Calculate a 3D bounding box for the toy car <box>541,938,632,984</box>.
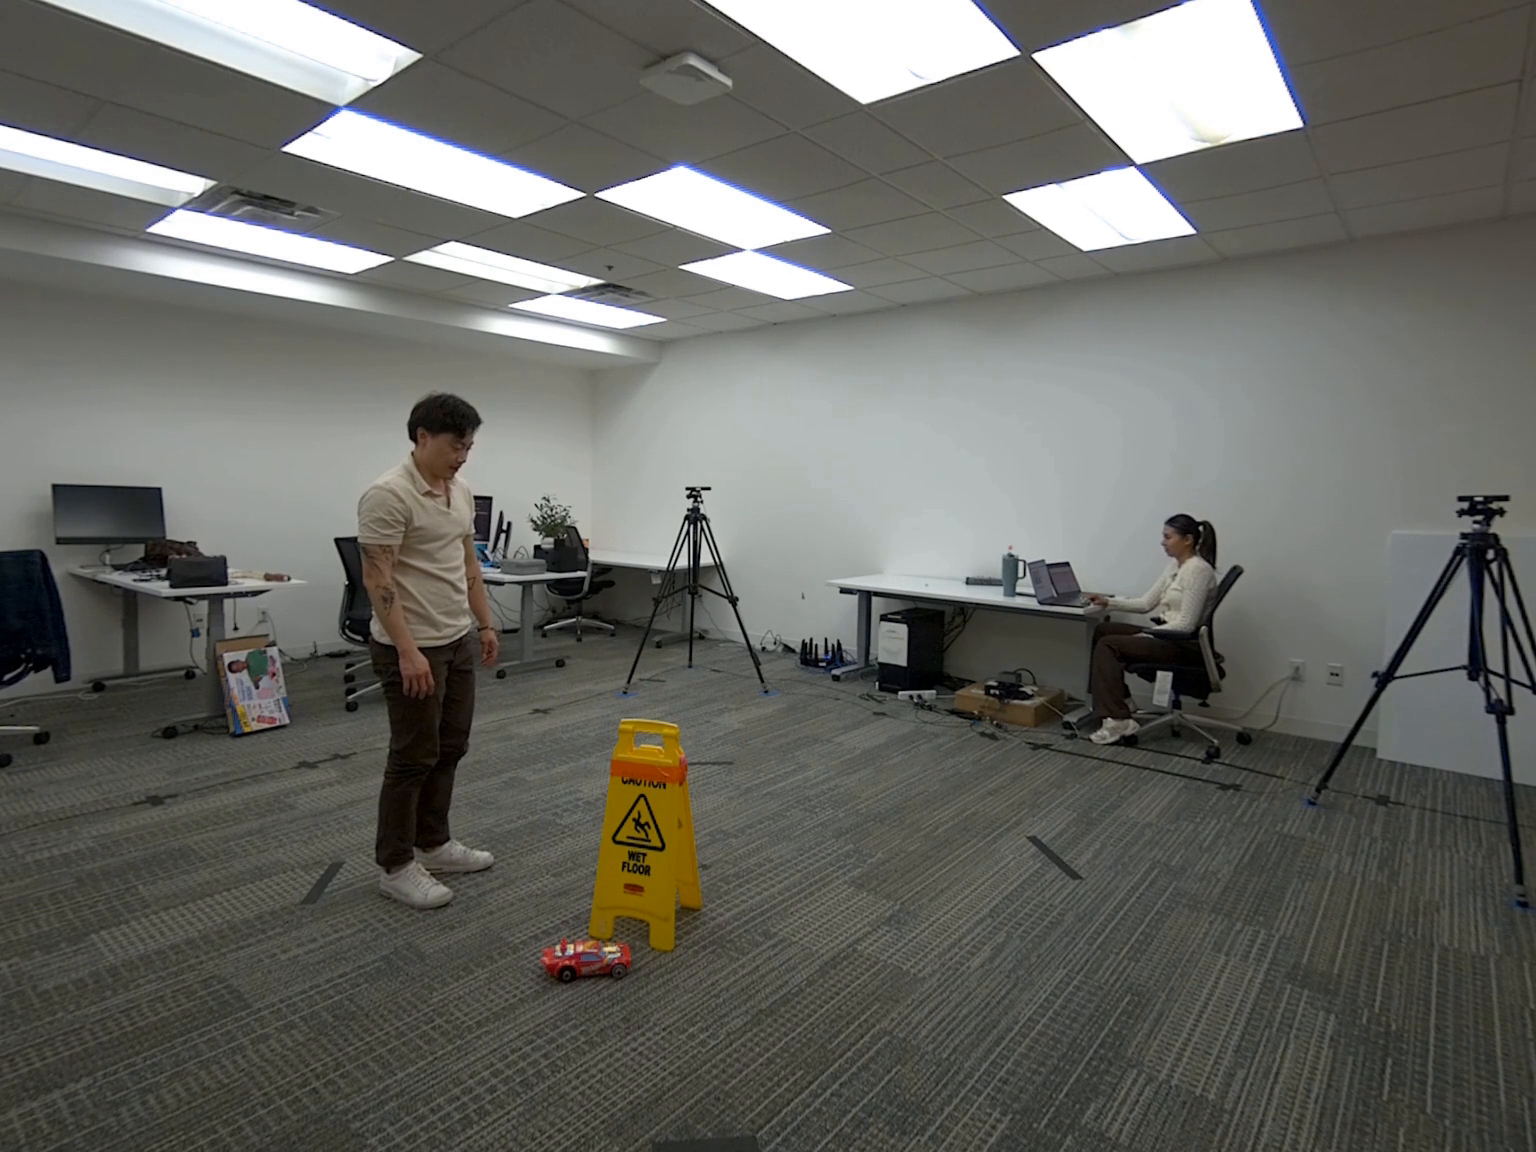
[{"bbox_3d":[-0.536,1.097,2.432,0.252,0.083,0.132,12,2,-10],"label":"toy car"}]
